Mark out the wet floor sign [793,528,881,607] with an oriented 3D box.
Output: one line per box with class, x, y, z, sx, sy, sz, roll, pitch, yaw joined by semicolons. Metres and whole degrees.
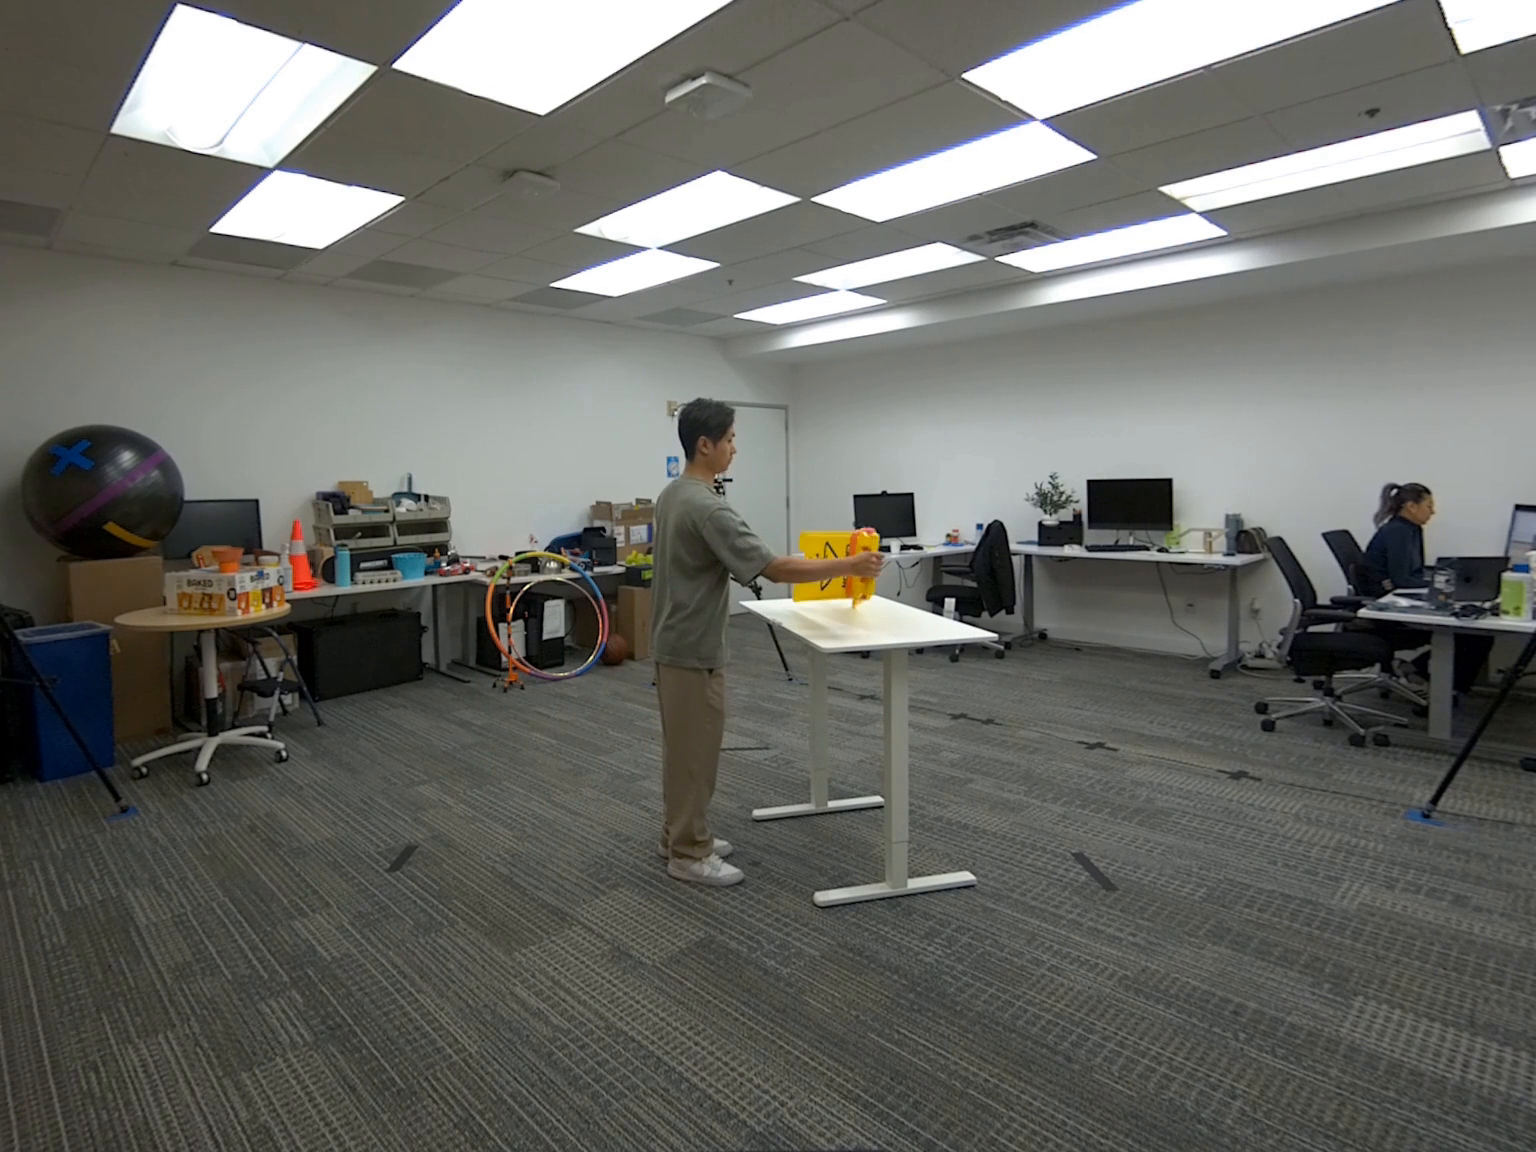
wet floor sign;0.290;-0.031;3.044;0.287;0.283;0.648;5;-3;-8
